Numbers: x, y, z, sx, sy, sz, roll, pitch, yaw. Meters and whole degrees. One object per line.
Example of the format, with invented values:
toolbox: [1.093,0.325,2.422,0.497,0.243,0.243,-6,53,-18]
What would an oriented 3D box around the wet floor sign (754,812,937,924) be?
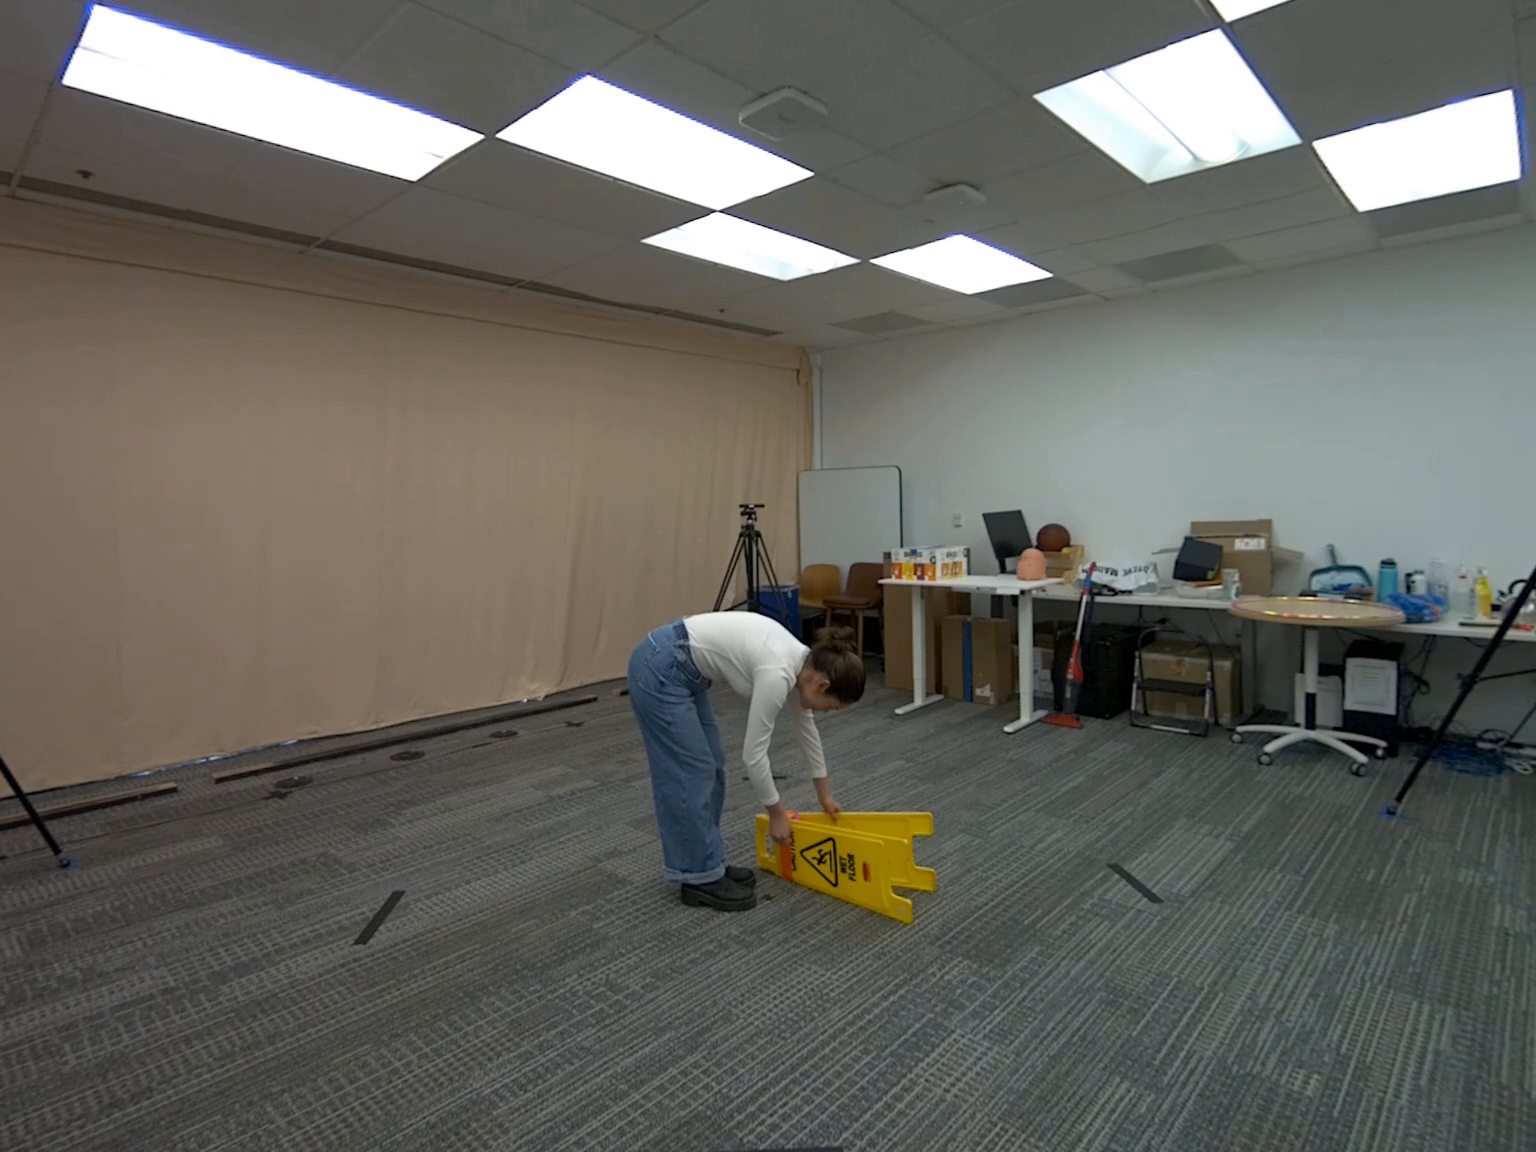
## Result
wet floor sign: [0.247,1.000,3.043,0.663,0.282,0.282,-2,2,29]
